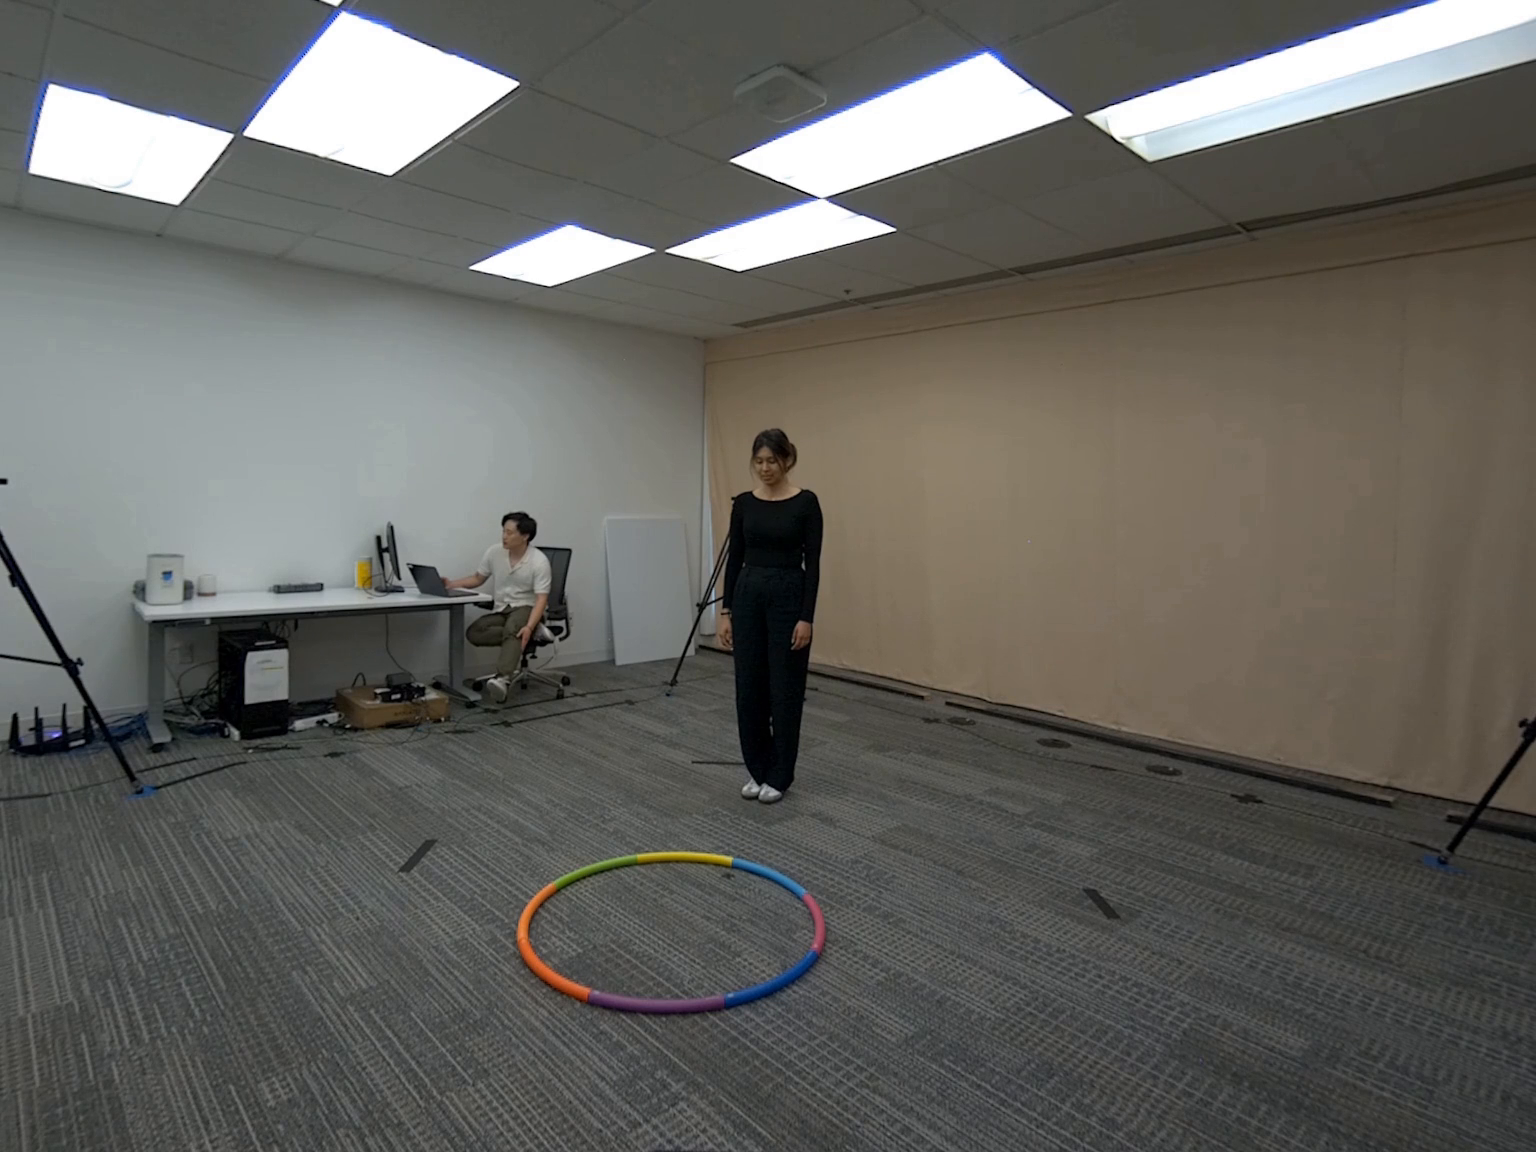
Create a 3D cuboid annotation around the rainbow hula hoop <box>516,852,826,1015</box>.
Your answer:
[{"bbox_3d":[-0.309,1.105,2.746,0.978,0.035,0.982,1,5,-1],"label":"rainbow hula hoop"}]
